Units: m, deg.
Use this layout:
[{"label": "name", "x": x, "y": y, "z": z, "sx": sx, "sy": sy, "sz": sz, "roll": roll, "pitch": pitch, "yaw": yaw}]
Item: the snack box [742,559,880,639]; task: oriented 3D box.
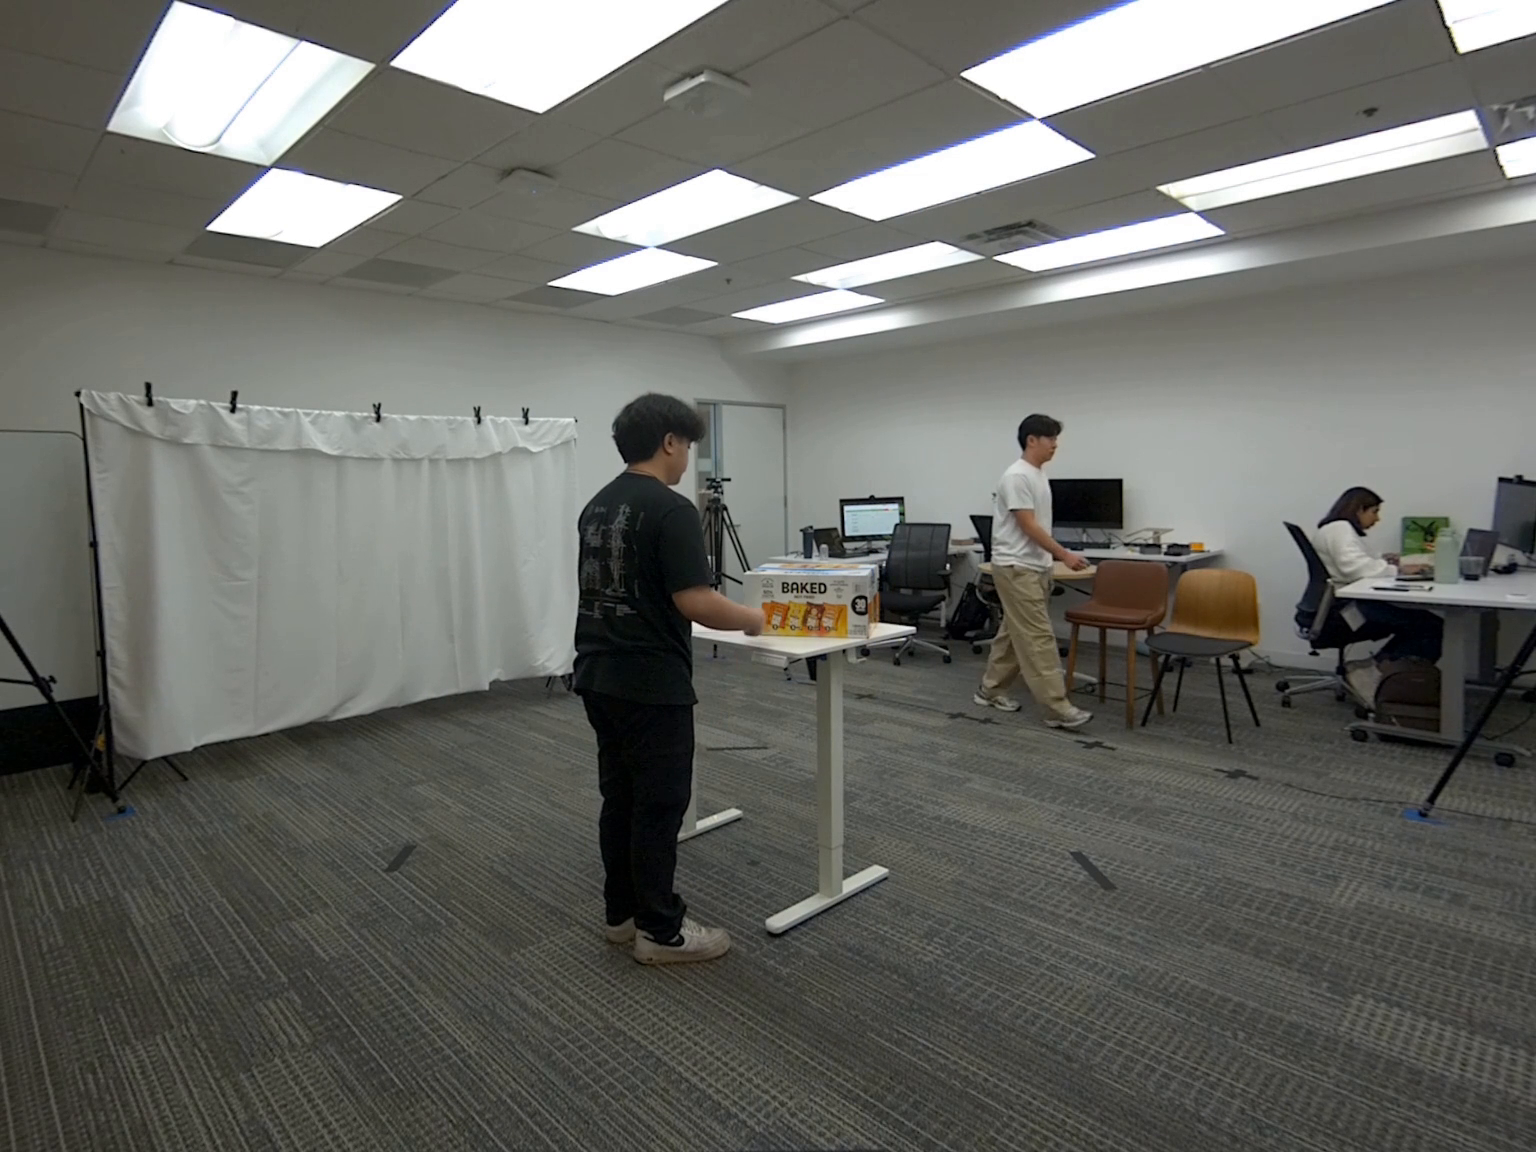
[{"label": "snack box", "x": 0.155, "y": 0.075, "z": 2.884, "sx": 0.411, "sy": 0.205, "sz": 0.337, "roll": 0, "pitch": 5, "yaw": 15}]
